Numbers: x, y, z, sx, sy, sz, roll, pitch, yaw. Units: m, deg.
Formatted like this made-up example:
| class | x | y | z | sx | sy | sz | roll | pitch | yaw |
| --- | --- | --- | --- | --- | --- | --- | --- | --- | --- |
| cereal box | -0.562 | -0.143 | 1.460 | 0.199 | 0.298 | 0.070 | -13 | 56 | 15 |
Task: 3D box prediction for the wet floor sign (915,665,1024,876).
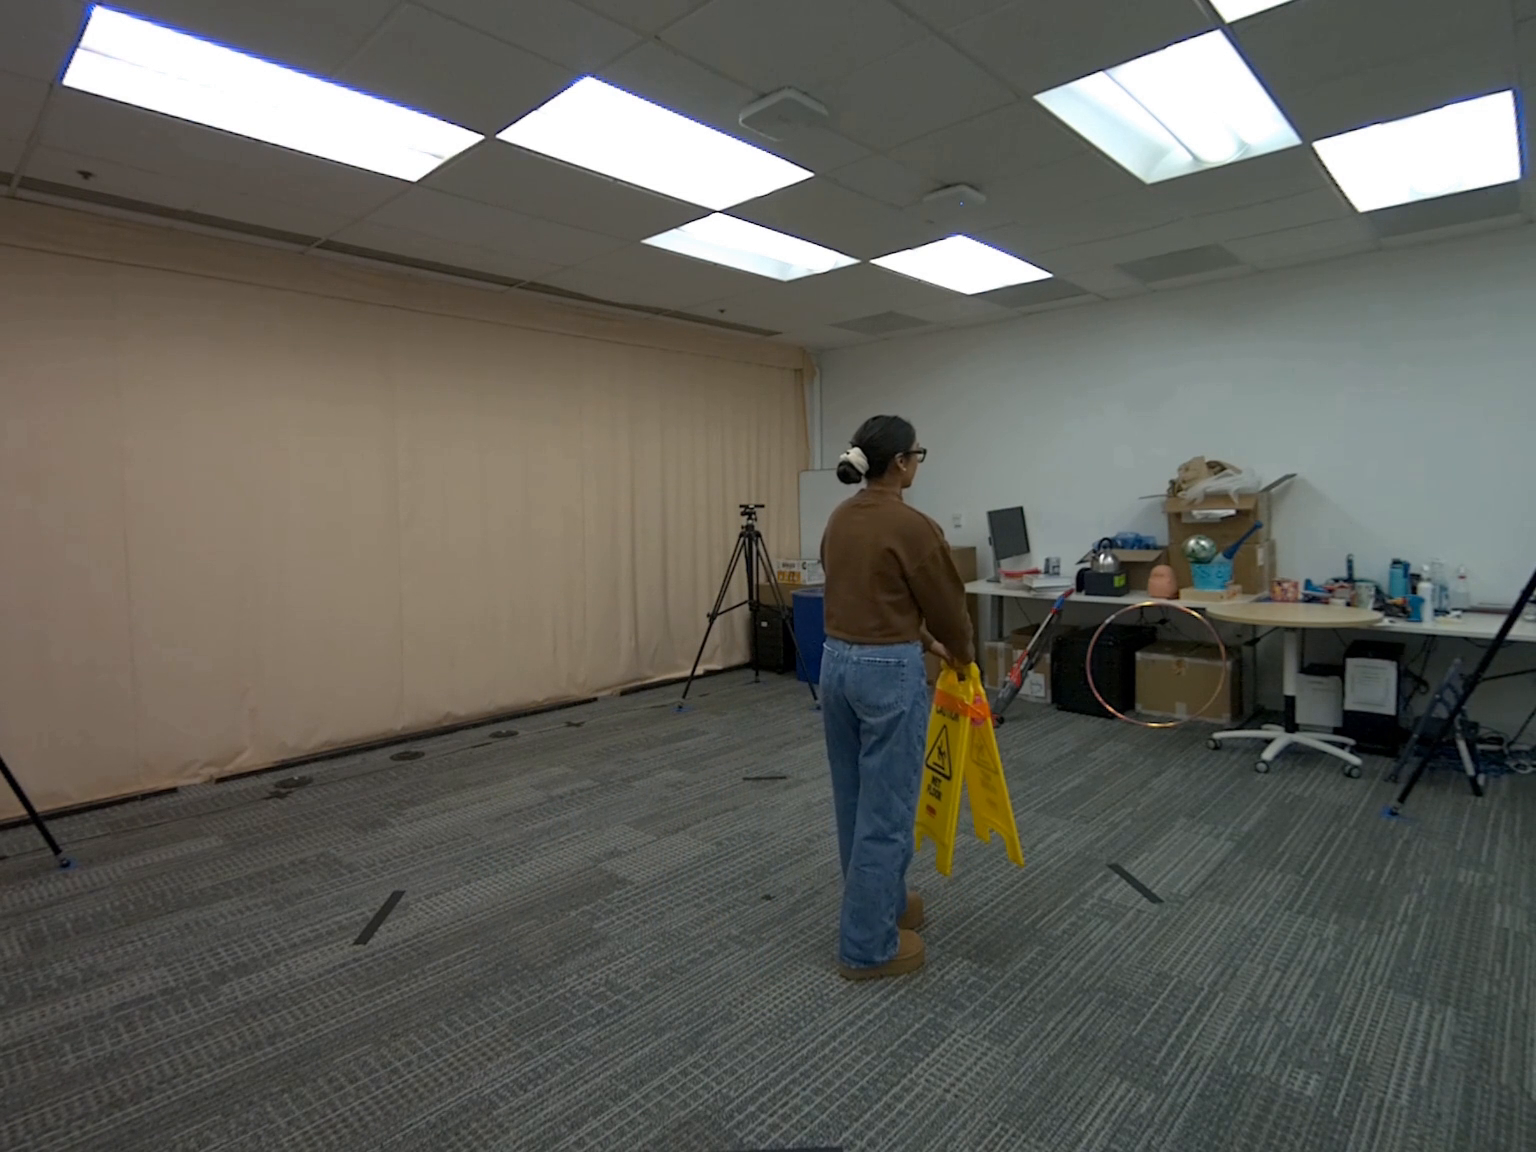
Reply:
| class | x | y | z | sx | sy | sz | roll | pitch | yaw |
| --- | --- | --- | --- | --- | --- | --- | --- | --- | --- |
| wet floor sign | 0.640 | 0.601 | 2.732 | 0.286 | 0.645 | 0.286 | -3 | 2 | -14 |
